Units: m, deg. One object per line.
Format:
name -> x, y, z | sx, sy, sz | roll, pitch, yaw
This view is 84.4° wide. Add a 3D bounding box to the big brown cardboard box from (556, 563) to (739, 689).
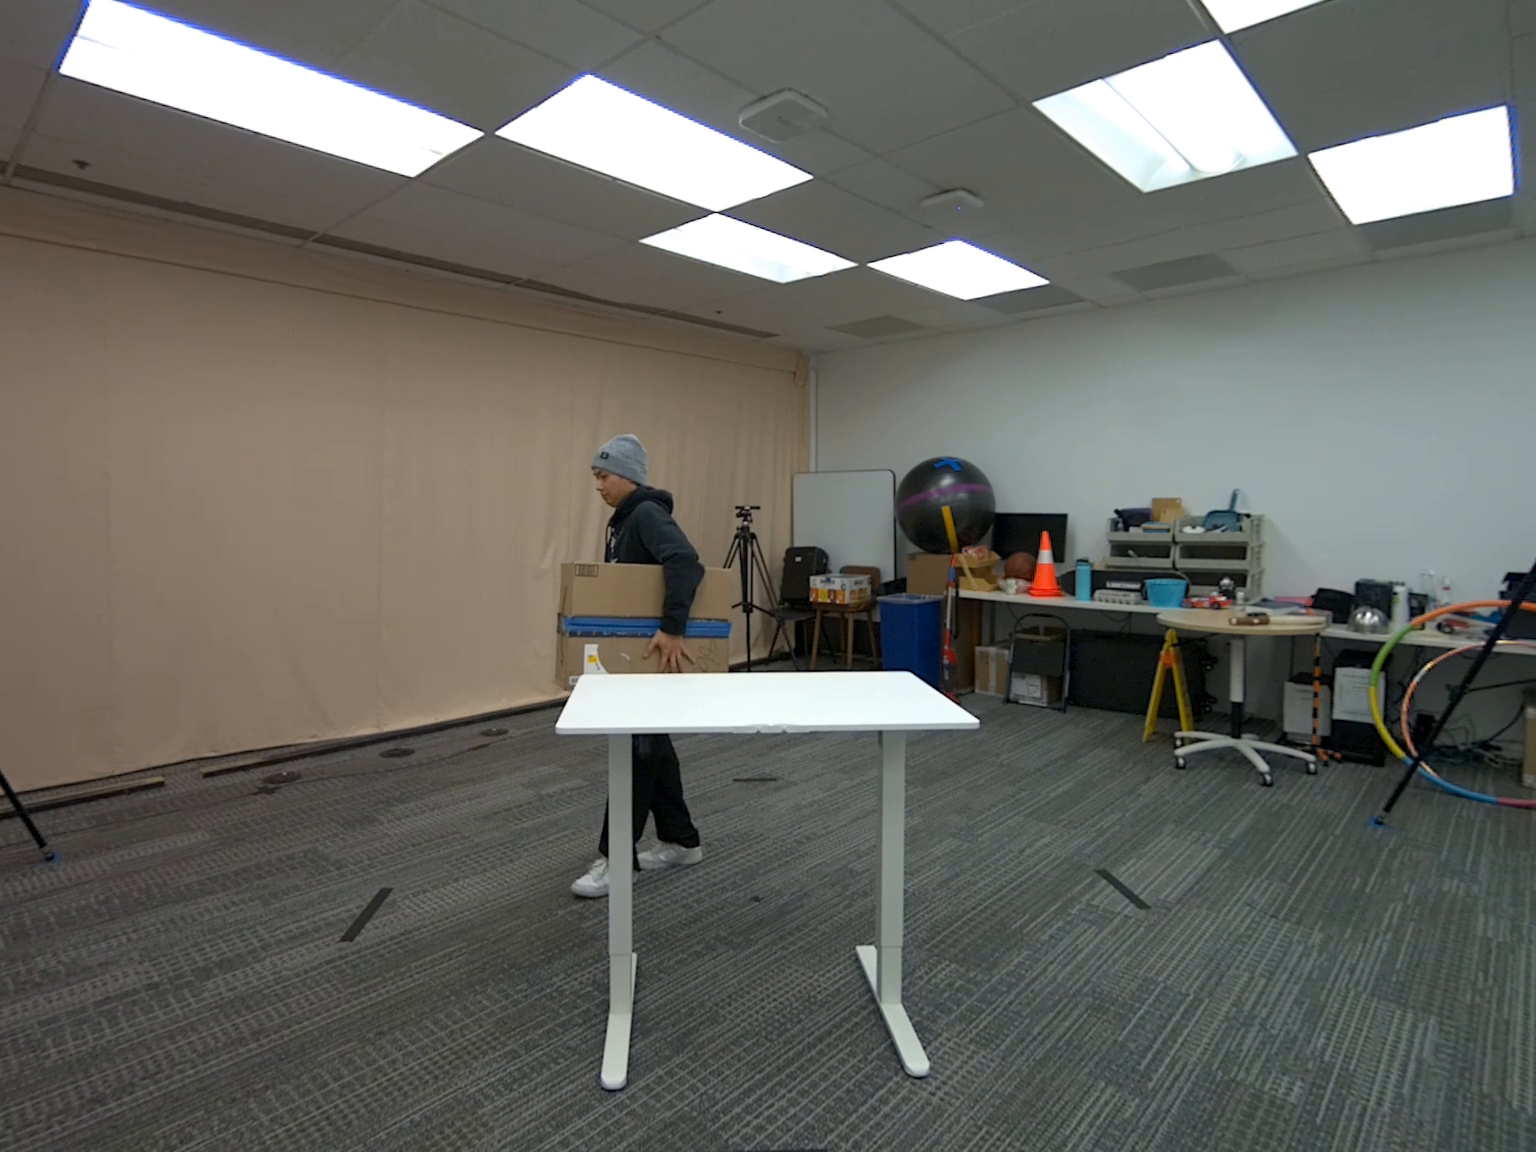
big brown cardboard box -> -0.426, 0.171, 2.900 | 0.576, 0.418, 0.238 | 2, -1, -21
